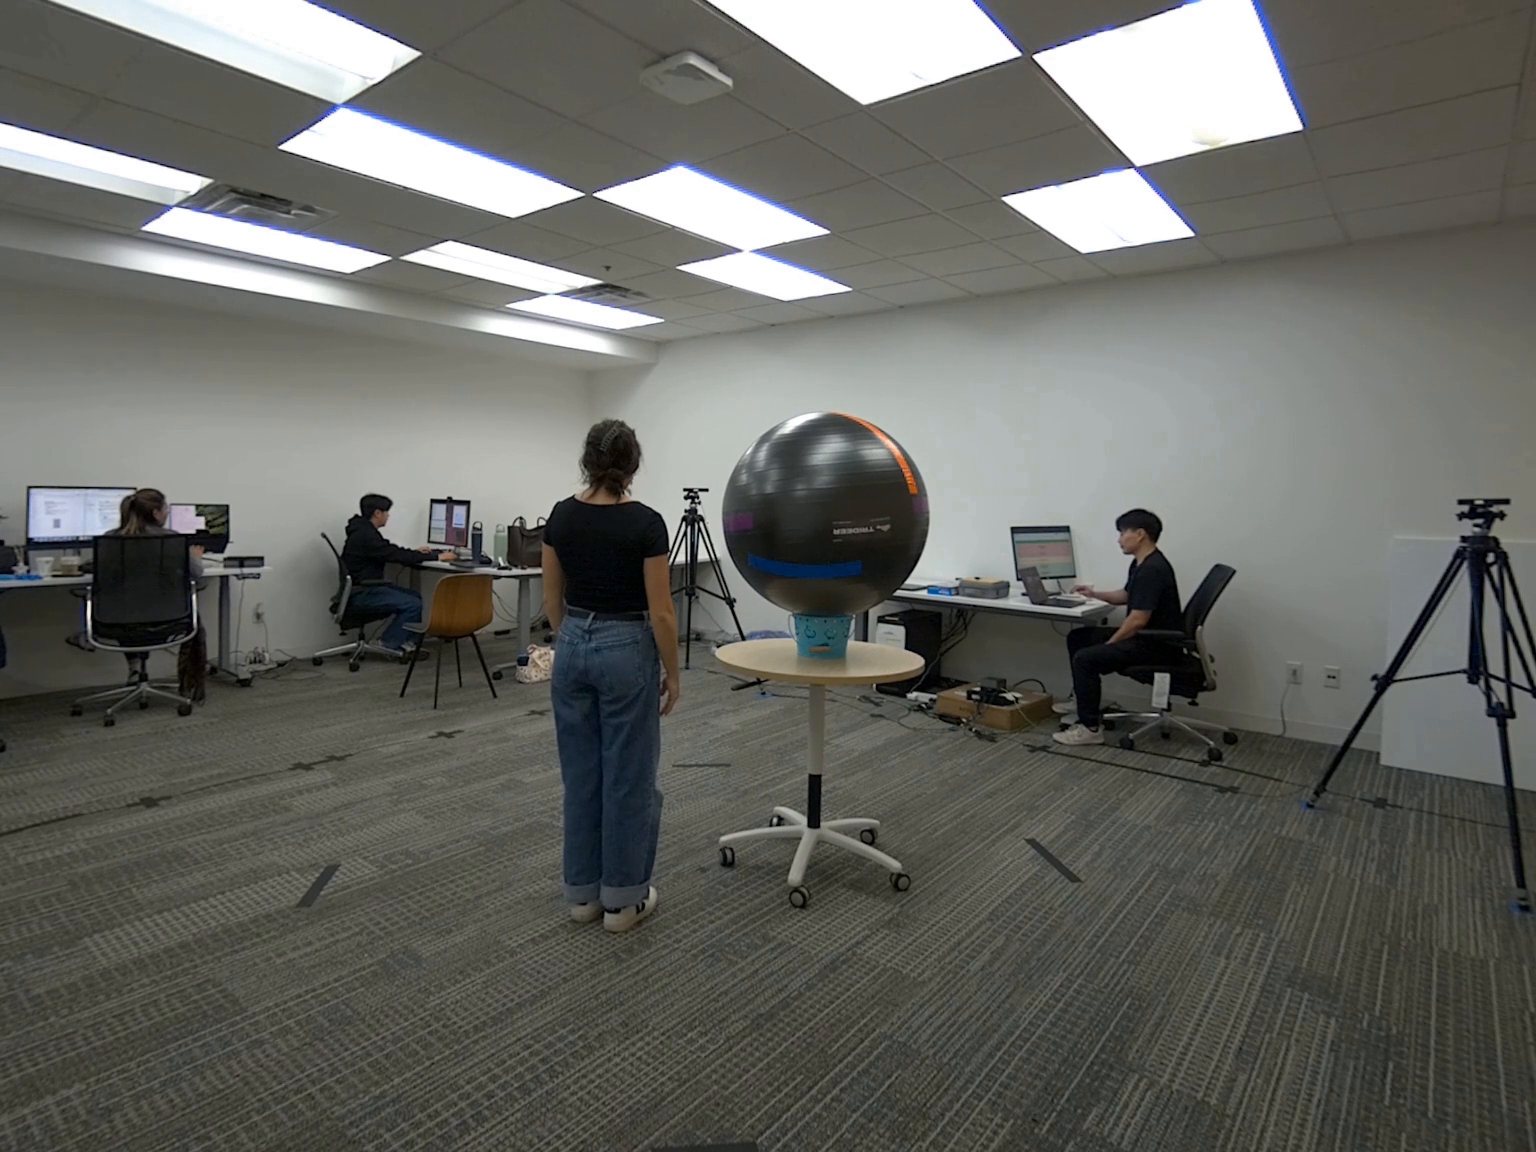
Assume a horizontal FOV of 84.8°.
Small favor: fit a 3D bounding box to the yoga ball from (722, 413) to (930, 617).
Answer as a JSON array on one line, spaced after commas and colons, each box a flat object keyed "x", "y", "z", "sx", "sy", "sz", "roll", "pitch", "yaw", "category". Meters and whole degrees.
[{"x": 0.214, "y": -0.226, "z": 3.163, "sx": 0.757, "sy": 0.756, "sz": 0.762, "roll": 1, "pitch": 4, "yaw": -2, "category": "yoga ball"}]
